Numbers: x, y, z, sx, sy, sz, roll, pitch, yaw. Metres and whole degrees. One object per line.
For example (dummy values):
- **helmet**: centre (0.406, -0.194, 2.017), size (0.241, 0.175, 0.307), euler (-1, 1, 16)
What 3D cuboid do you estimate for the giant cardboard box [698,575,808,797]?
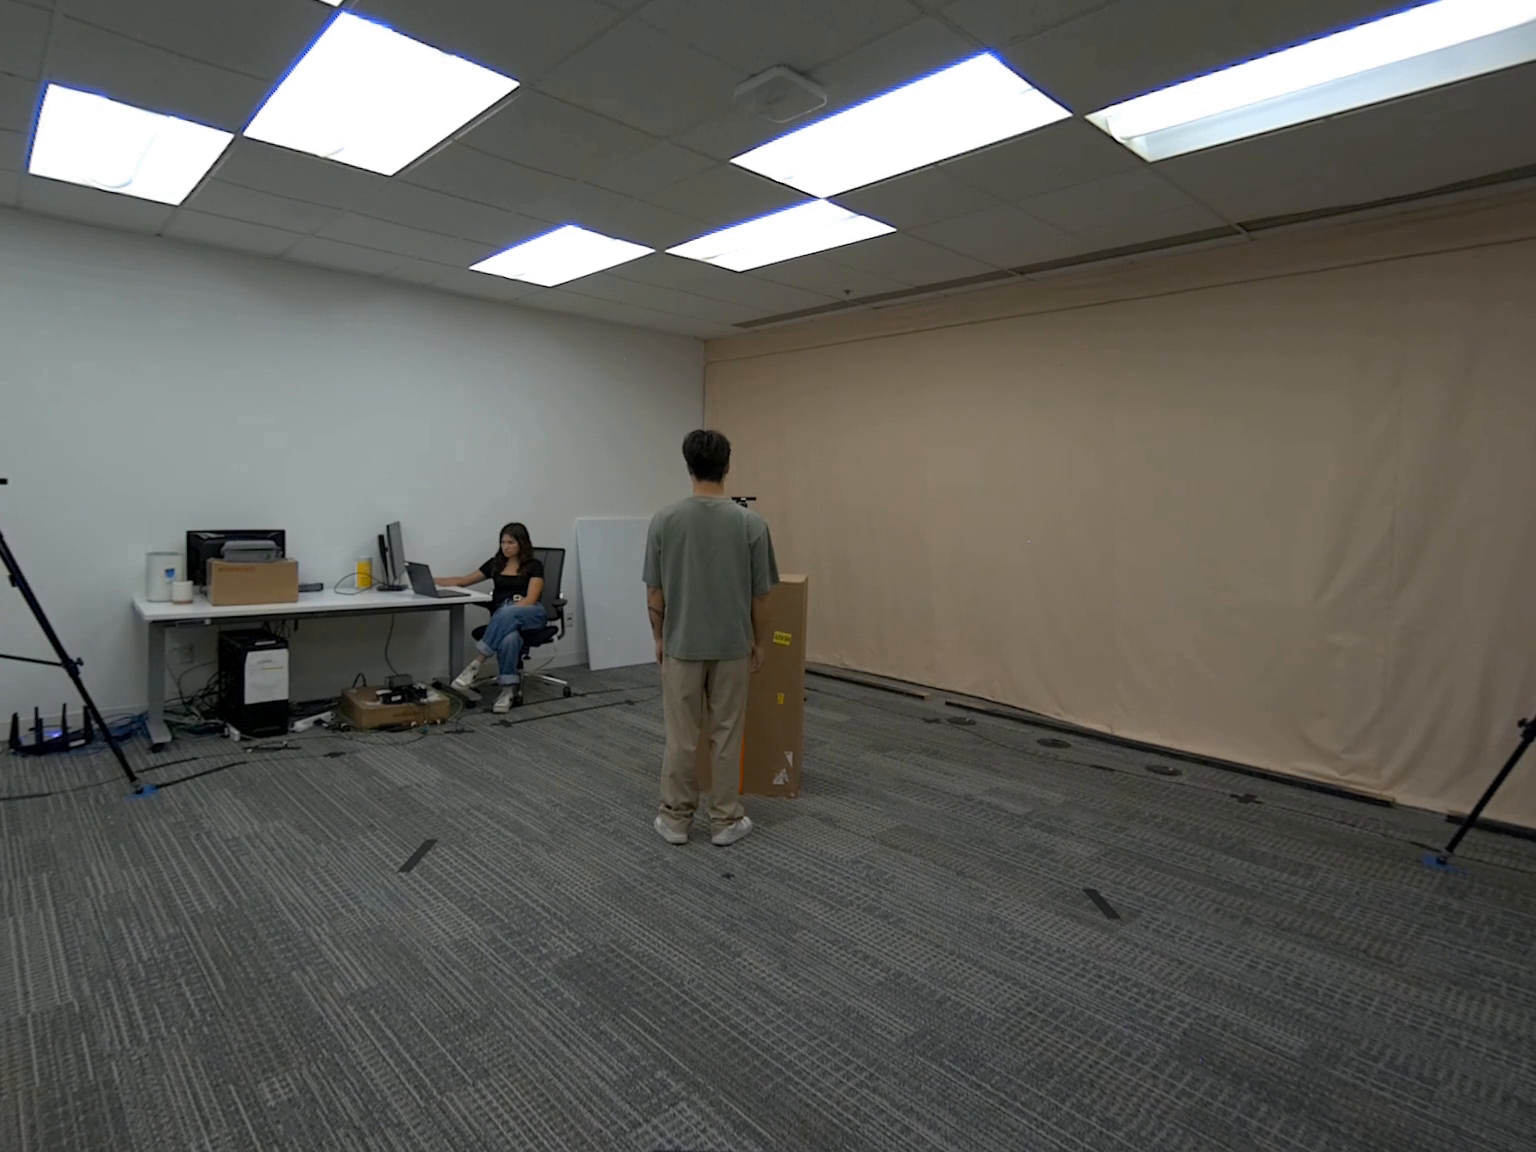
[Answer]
- **giant cardboard box**: centre (-0.126, 0.512, 4.173), size (0.581, 1.024, 0.424), euler (2, 2, 6)
